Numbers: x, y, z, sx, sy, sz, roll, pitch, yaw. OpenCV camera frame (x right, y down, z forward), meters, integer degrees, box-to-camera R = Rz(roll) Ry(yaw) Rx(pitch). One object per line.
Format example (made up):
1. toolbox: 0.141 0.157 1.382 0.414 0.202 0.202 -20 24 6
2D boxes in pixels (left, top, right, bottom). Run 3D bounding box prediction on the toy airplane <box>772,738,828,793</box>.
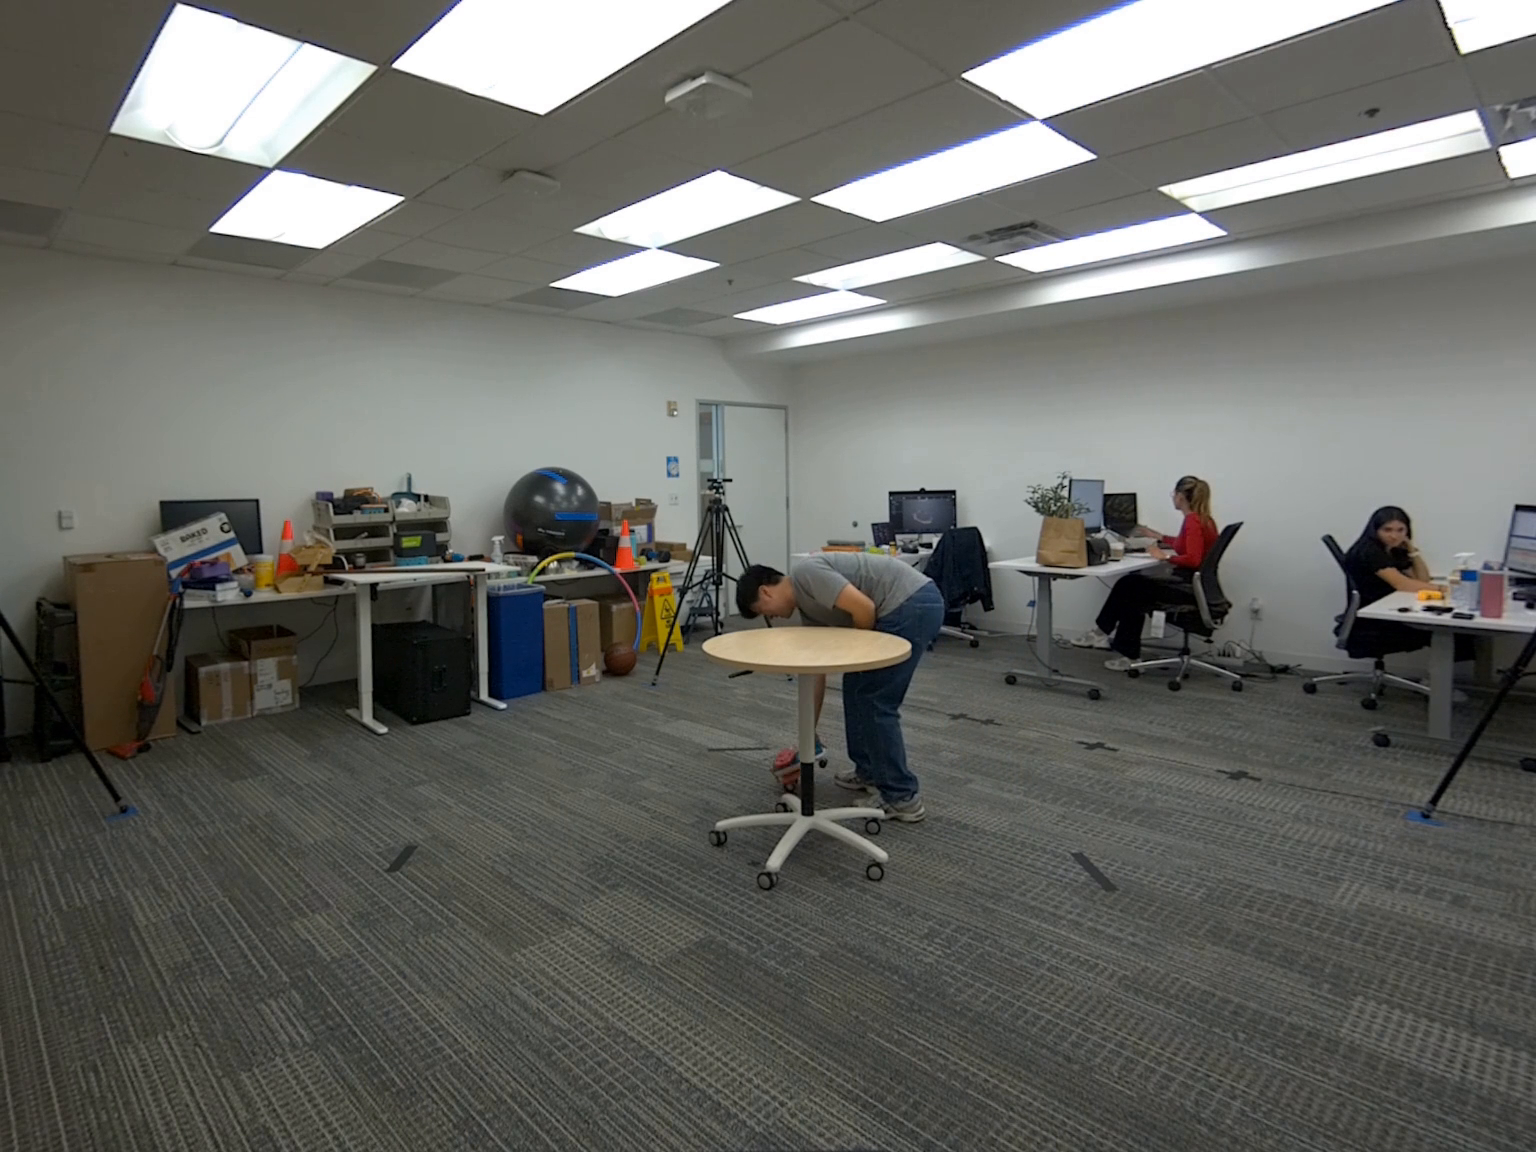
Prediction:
1. toy airplane: 0.151 0.845 3.860 0.258 0.157 0.251 -38 -2 -16
